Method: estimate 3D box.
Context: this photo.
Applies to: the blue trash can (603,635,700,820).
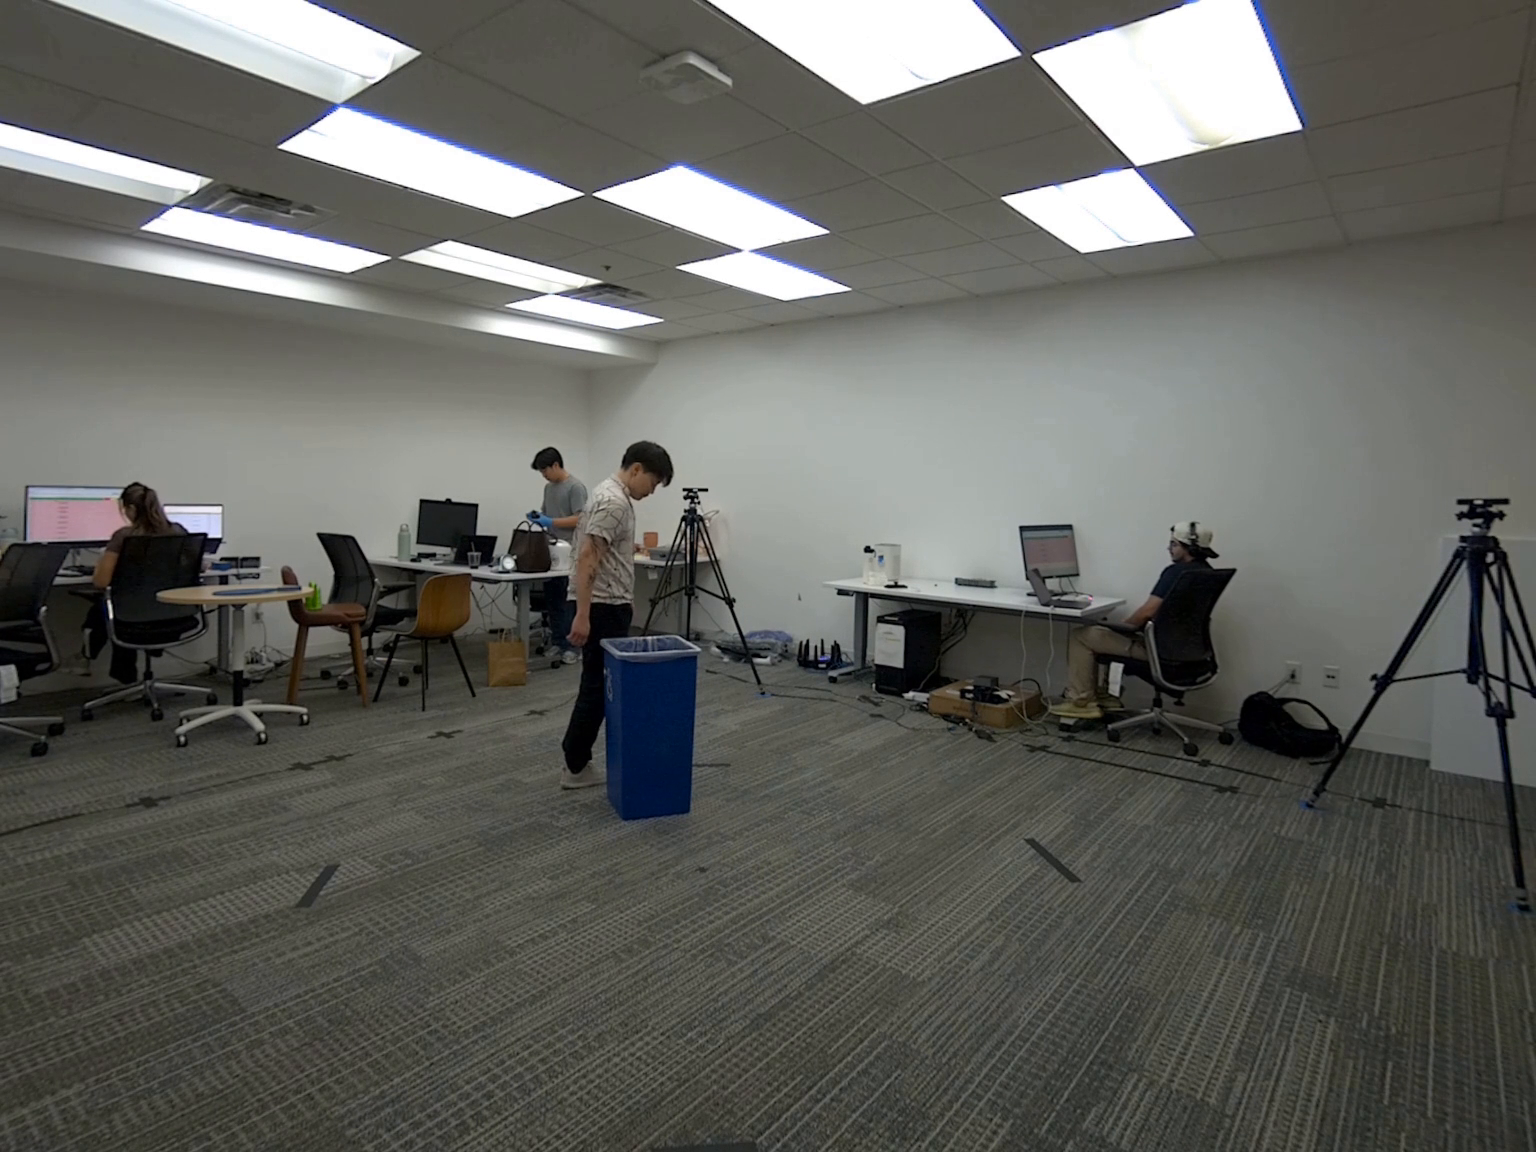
[{"bbox_3d":[-0.526,0.648,3.717,0.370,0.711,0.383,-1,4,-22],"label":"blue trash can"}]
